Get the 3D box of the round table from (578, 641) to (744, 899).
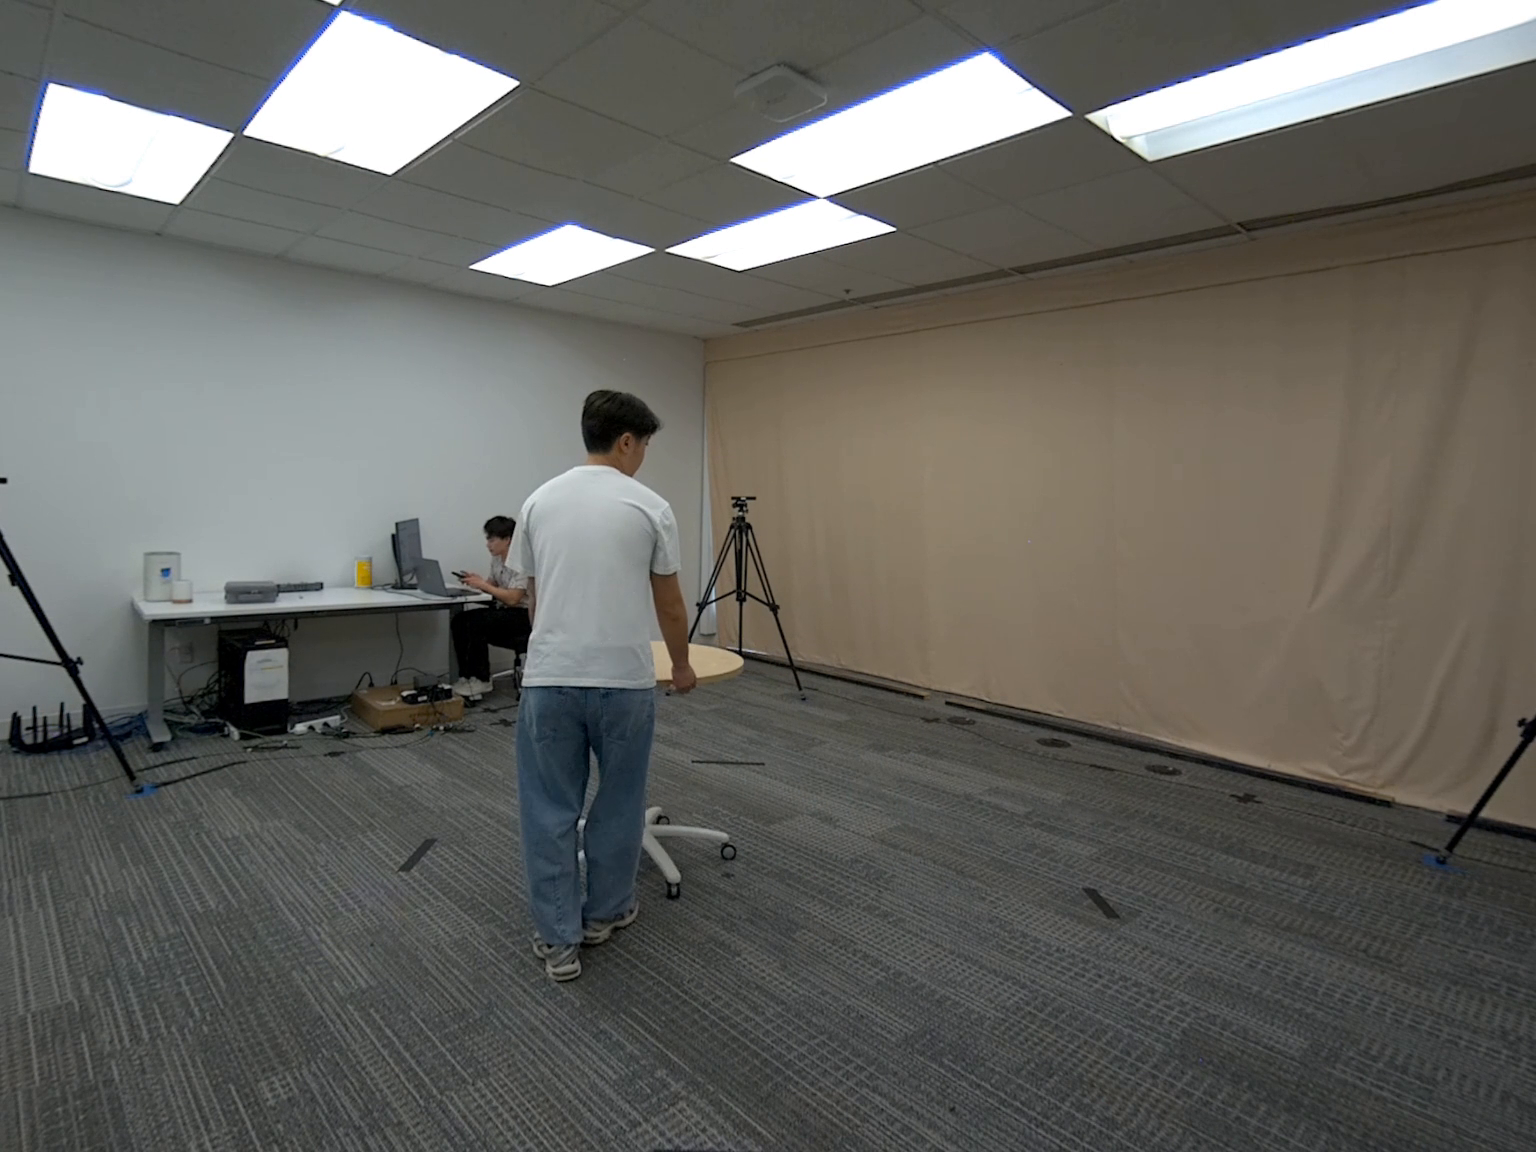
[{"bbox_3d":[-0.483,0.707,3.176,0.763,0.792,0.767,1,4,-1],"label":"round table"}]
